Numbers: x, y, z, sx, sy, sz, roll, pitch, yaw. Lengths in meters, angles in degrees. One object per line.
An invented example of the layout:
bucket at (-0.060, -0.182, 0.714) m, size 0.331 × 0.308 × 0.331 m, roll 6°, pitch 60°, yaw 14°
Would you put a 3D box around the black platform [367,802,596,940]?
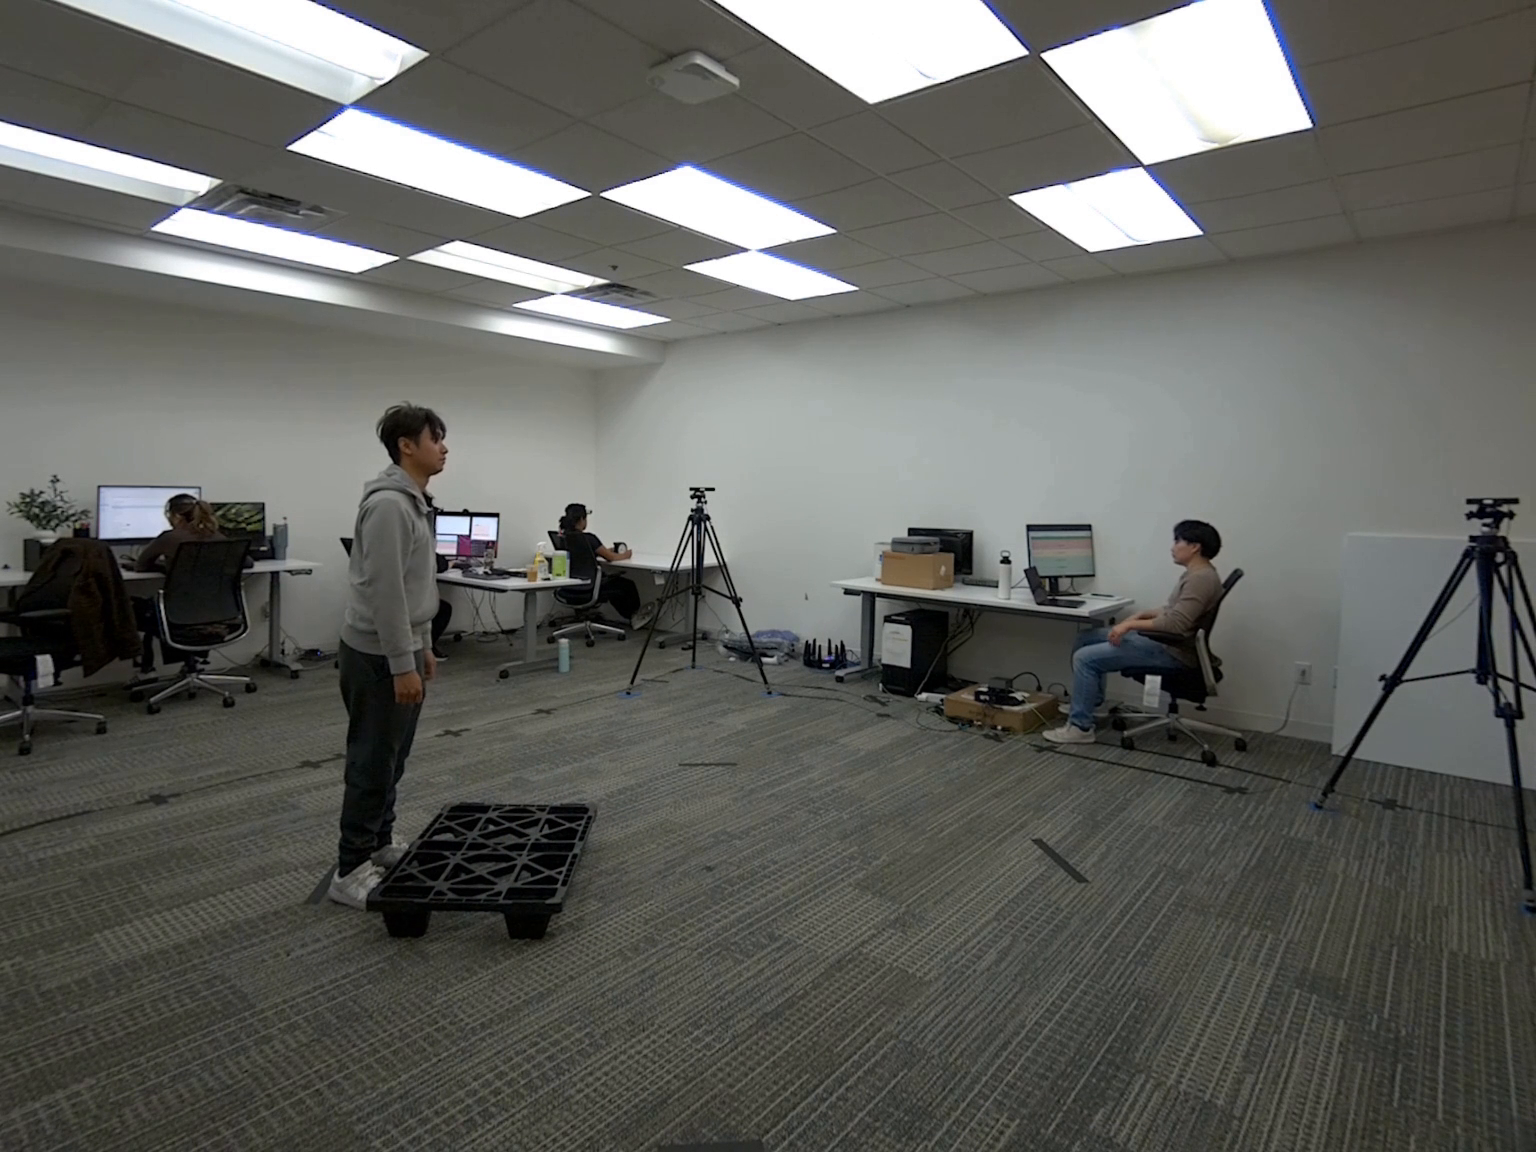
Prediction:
black platform at (-0.957, 1.001, 2.958) m, size 0.604 × 0.143 × 0.810 m, roll 0°, pitch 5°, yaw -2°
